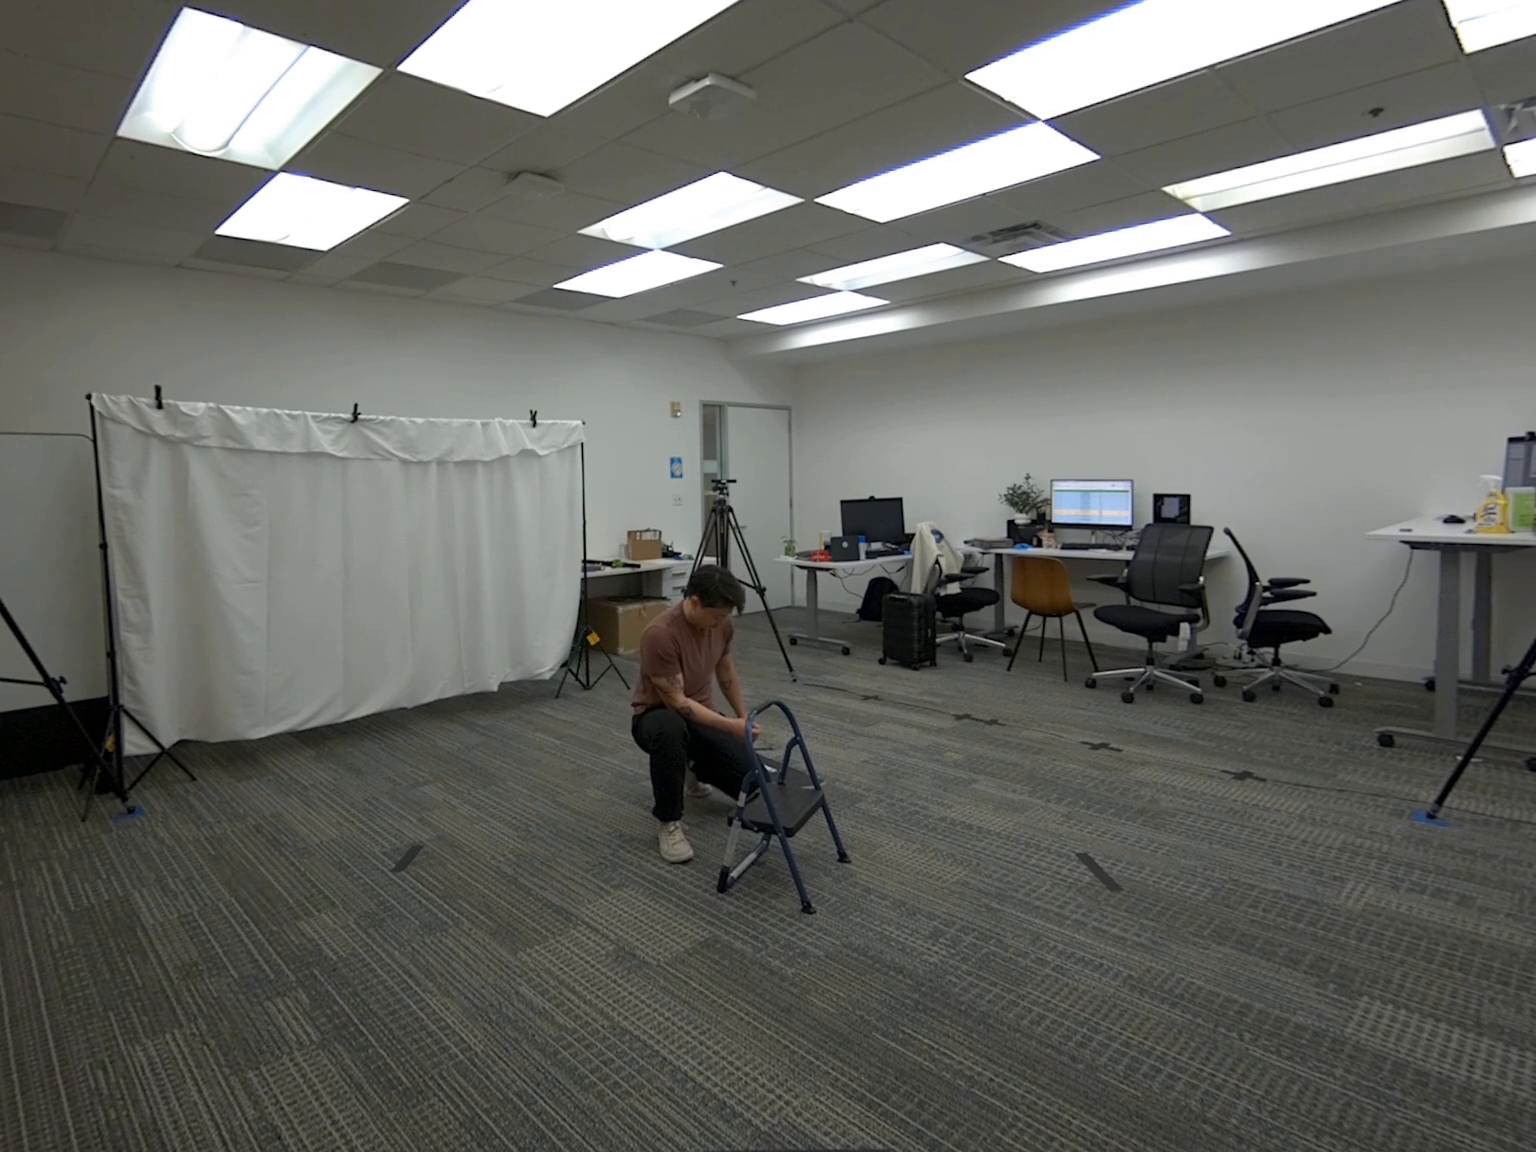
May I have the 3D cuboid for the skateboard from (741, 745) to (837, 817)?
[{"bbox_3d":[-0.026,0.902,3.916,0.188,0.110,0.809,-4,6,-36],"label":"skateboard"}]
